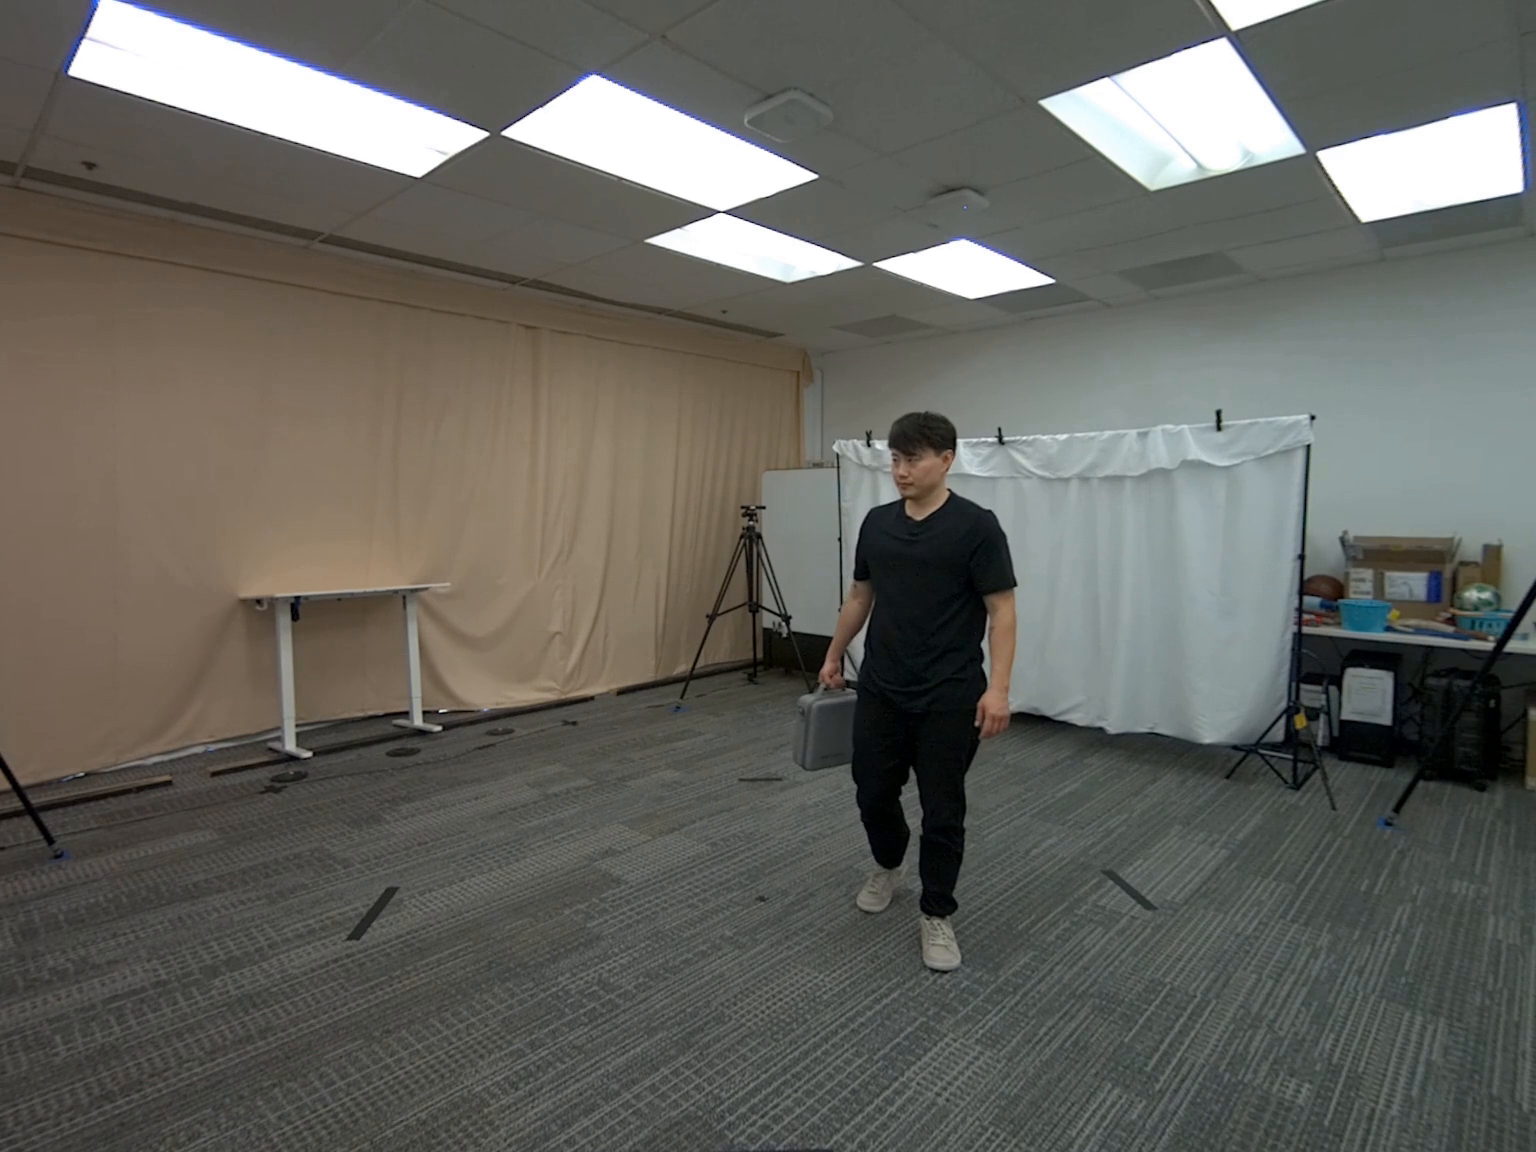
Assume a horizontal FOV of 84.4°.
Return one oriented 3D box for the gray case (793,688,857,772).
[{"bbox_3d":[0.224,0.526,2.905,0.250,0.259,0.108,-1,9,-31],"label":"gray case"}]
